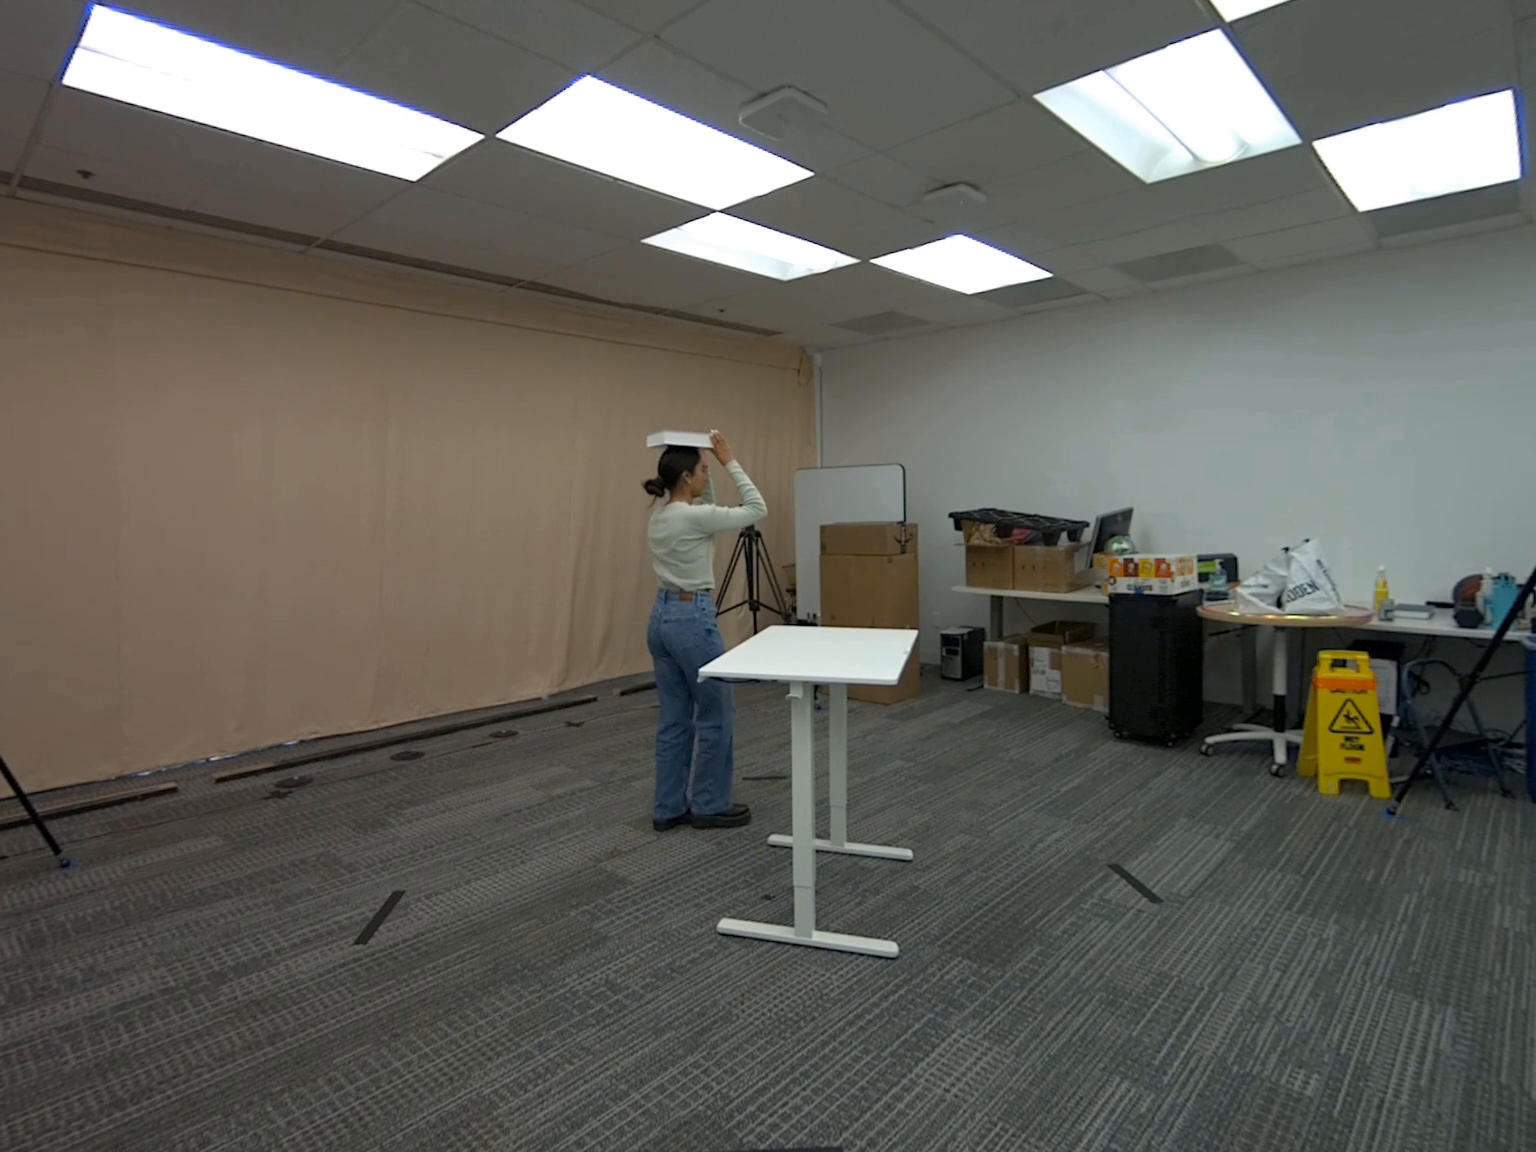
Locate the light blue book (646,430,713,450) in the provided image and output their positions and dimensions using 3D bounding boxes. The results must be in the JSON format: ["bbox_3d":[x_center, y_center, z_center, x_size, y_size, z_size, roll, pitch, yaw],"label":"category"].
[{"bbox_3d":[-0.363,-0.585,3.635,0.255,0.059,0.196,-2,3,-25],"label":"light blue book"}]
